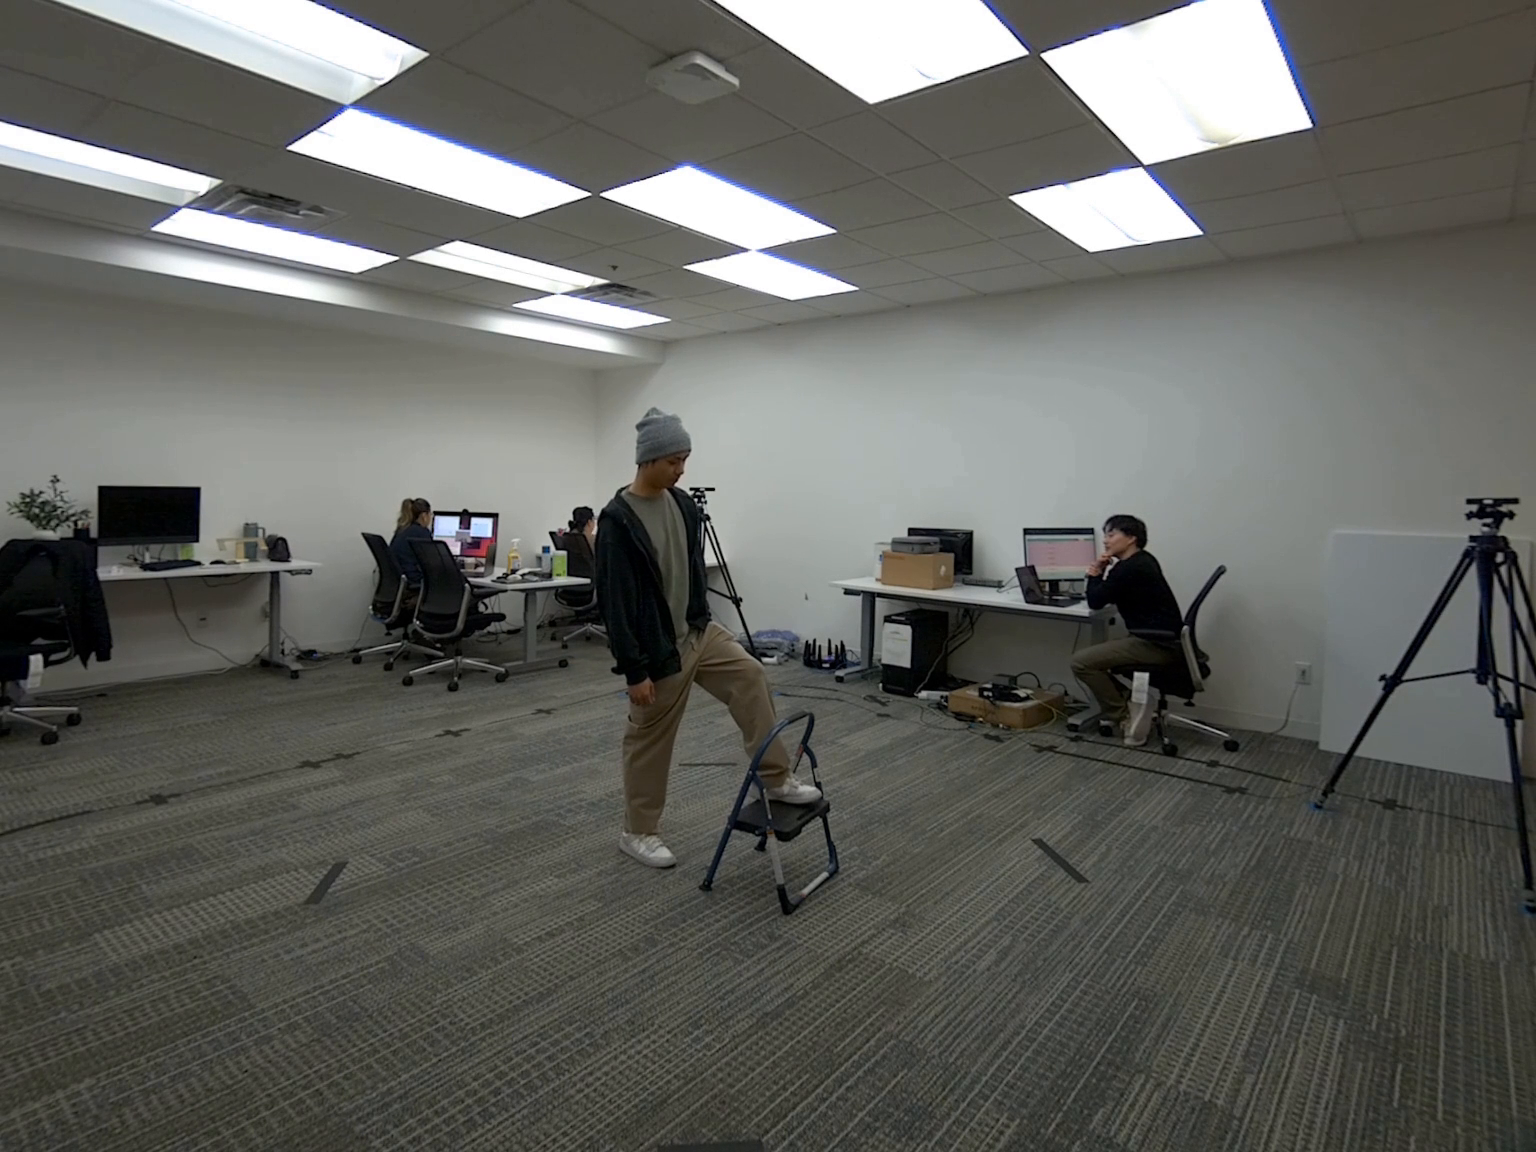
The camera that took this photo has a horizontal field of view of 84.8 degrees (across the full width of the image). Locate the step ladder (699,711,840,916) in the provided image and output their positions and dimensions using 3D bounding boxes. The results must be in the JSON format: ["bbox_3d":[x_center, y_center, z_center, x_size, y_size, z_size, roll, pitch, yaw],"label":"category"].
[{"bbox_3d":[0.015,0.778,3.015,0.359,0.604,0.419,4,4,29],"label":"step ladder"}]
